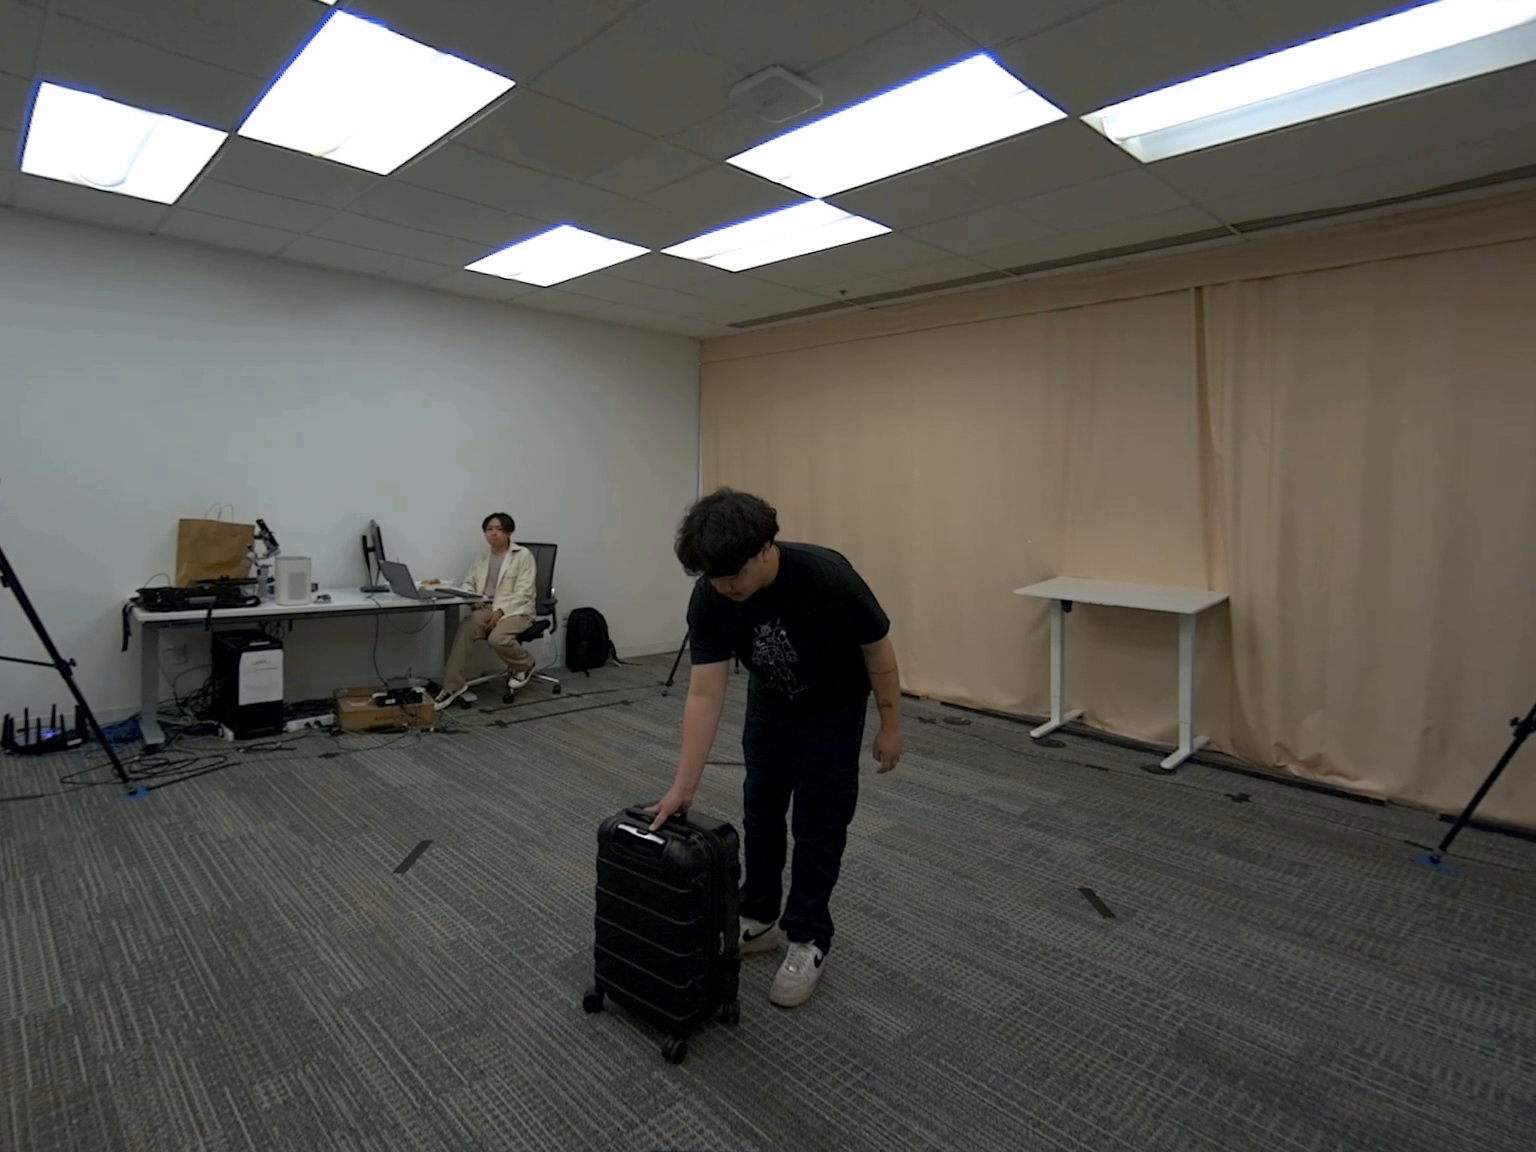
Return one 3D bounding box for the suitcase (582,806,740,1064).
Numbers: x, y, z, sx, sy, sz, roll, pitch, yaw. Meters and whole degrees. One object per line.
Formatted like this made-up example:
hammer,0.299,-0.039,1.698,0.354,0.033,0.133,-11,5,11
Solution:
suitcase,-0.282,0.912,2.255,0.384,0.549,0.243,3,2,38
